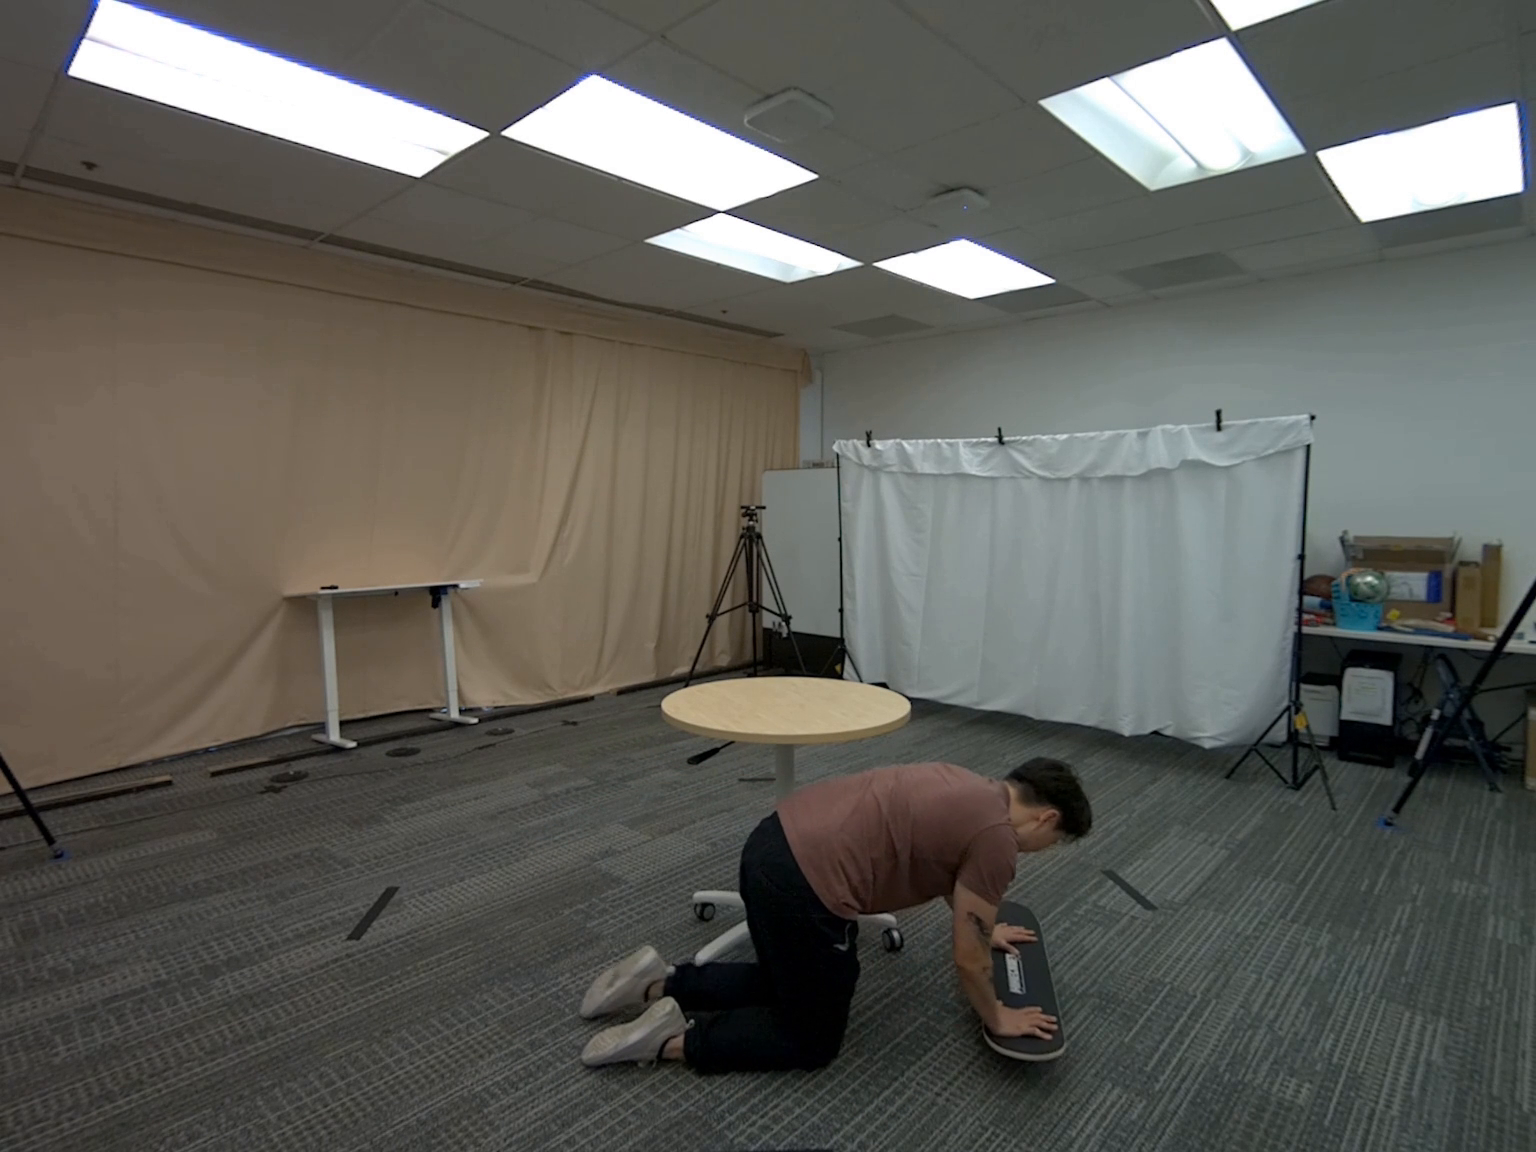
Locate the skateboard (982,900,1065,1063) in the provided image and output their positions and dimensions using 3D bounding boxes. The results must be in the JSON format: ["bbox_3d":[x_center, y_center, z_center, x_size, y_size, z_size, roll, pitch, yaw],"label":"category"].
[{"bbox_3d":[0.693,1.140,2.352,0.196,0.110,0.776,-1,5,12],"label":"skateboard"}]
